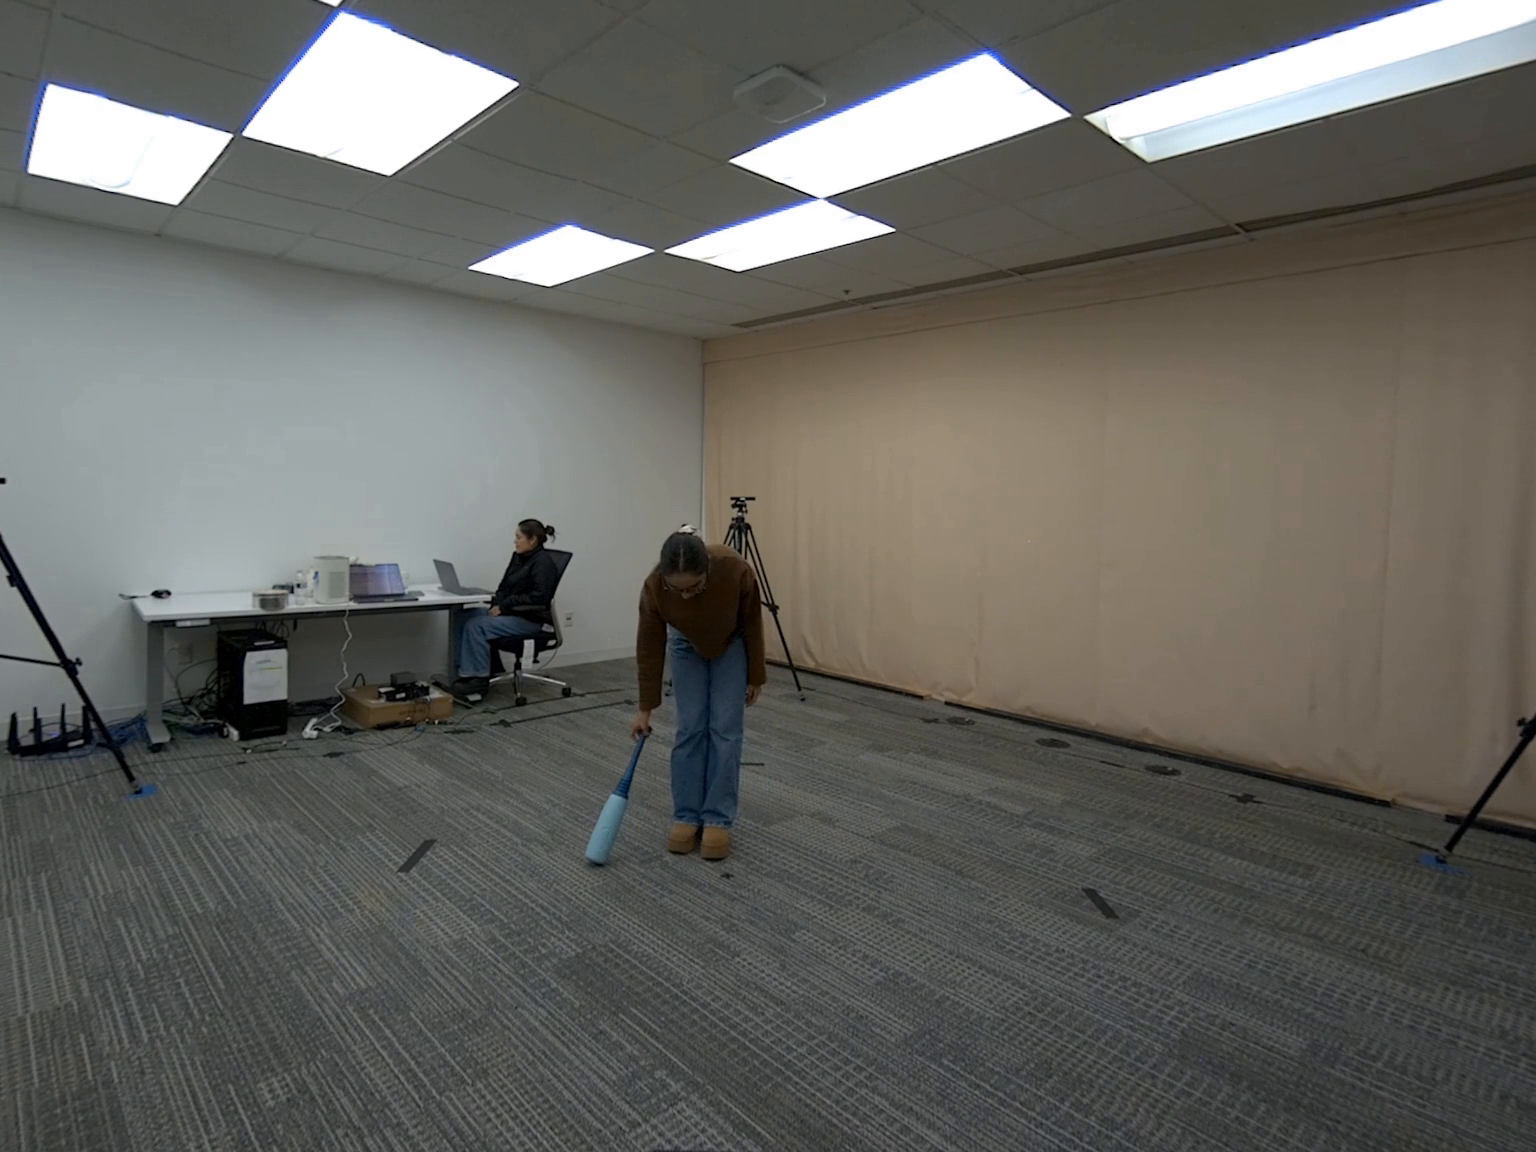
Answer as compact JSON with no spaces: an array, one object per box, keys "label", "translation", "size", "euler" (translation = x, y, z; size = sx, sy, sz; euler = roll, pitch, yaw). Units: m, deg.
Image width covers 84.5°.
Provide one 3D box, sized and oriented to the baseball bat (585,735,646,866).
[{"label":"baseball bat","translation":[-0.577,0.843,3.257],"size":[0.089,0.548,0.088],"euler":[17,-22,6]}]
